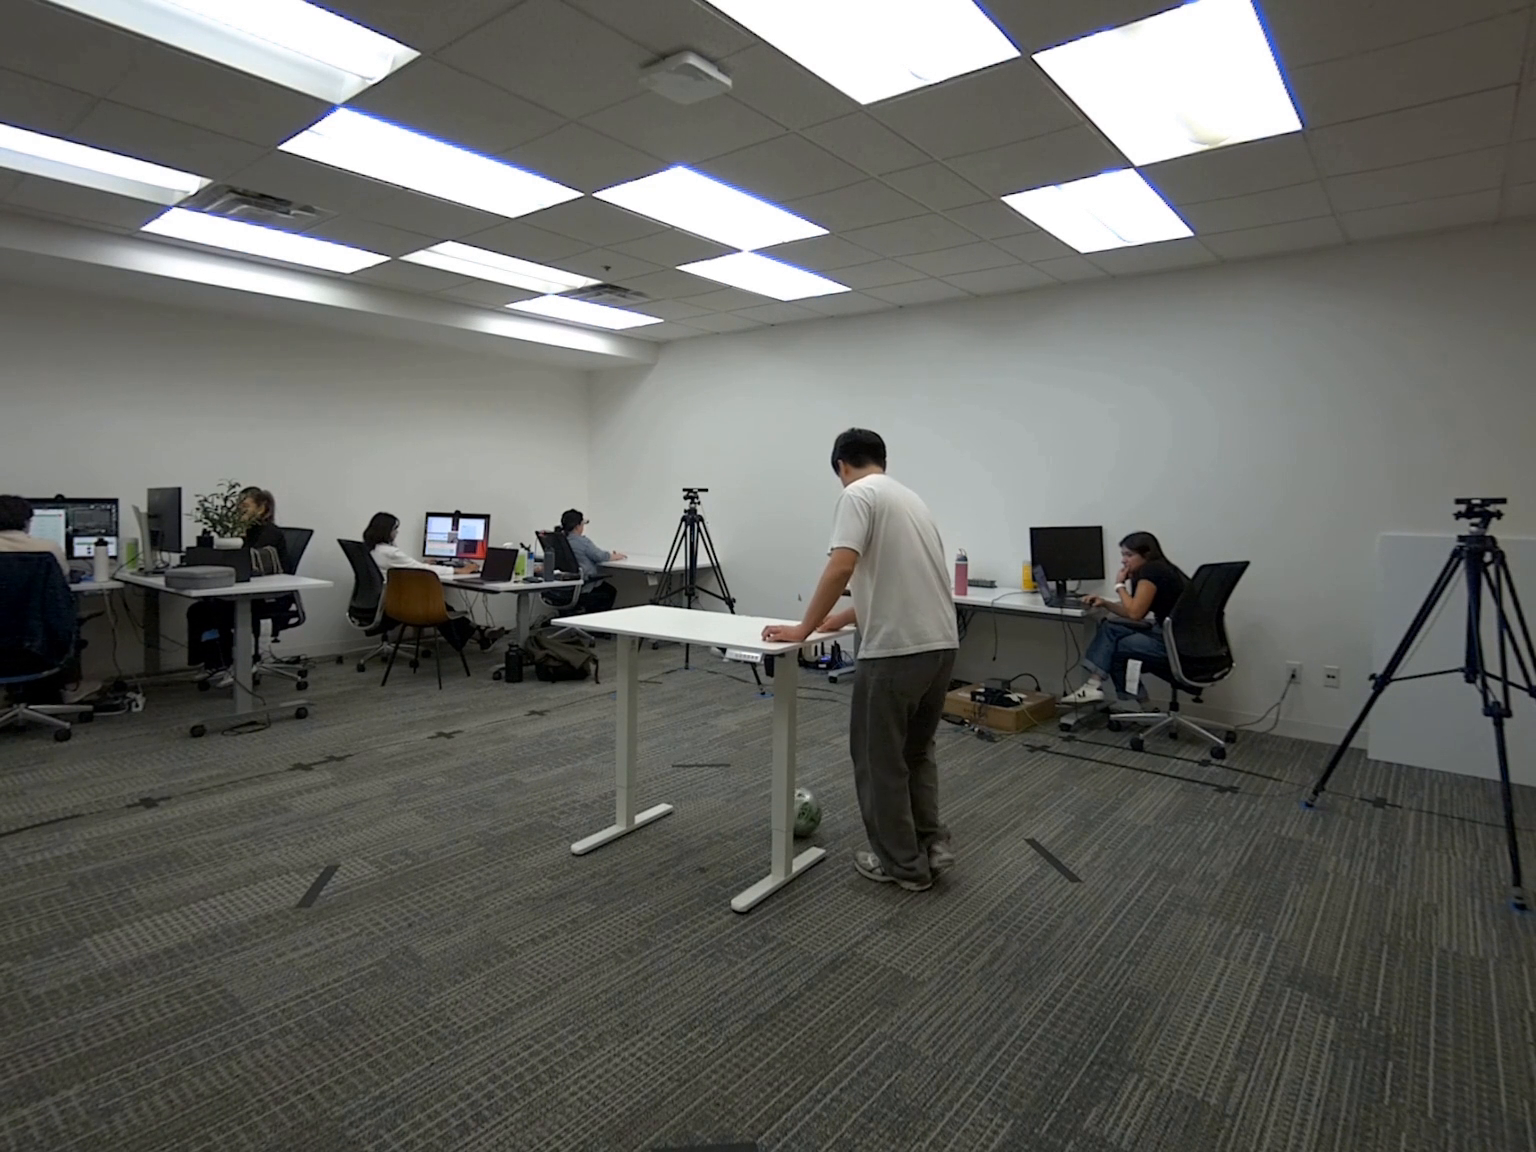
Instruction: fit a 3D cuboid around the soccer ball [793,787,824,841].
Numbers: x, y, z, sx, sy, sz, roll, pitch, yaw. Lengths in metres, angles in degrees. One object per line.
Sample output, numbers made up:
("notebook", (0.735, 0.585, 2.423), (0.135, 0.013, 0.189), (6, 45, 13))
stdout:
("soccer ball", (0.133, 0.941, 3.443), (0.187, 0.187, 0.188), (1, 4, -2))
